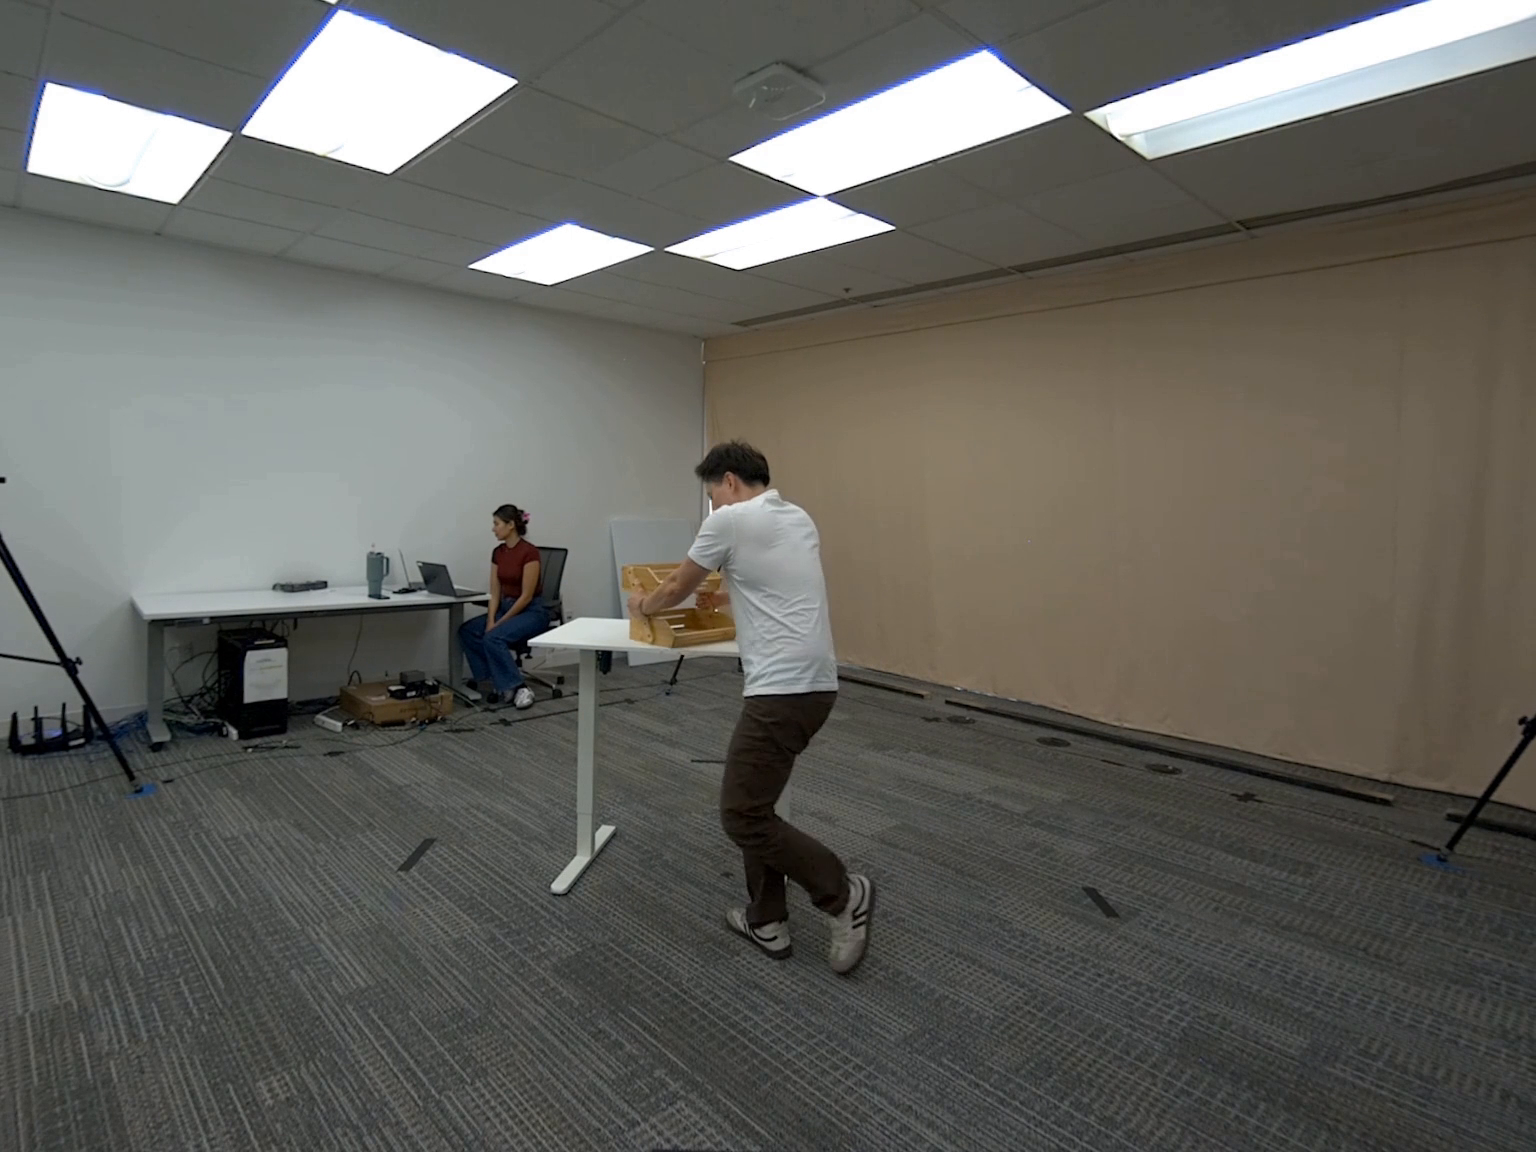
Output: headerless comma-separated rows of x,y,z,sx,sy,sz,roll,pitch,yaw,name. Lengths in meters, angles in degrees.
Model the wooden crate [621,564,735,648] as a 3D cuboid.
-0.323,0.094,3.005,0.310,0.273,0.317,5,5,45,wooden crate
